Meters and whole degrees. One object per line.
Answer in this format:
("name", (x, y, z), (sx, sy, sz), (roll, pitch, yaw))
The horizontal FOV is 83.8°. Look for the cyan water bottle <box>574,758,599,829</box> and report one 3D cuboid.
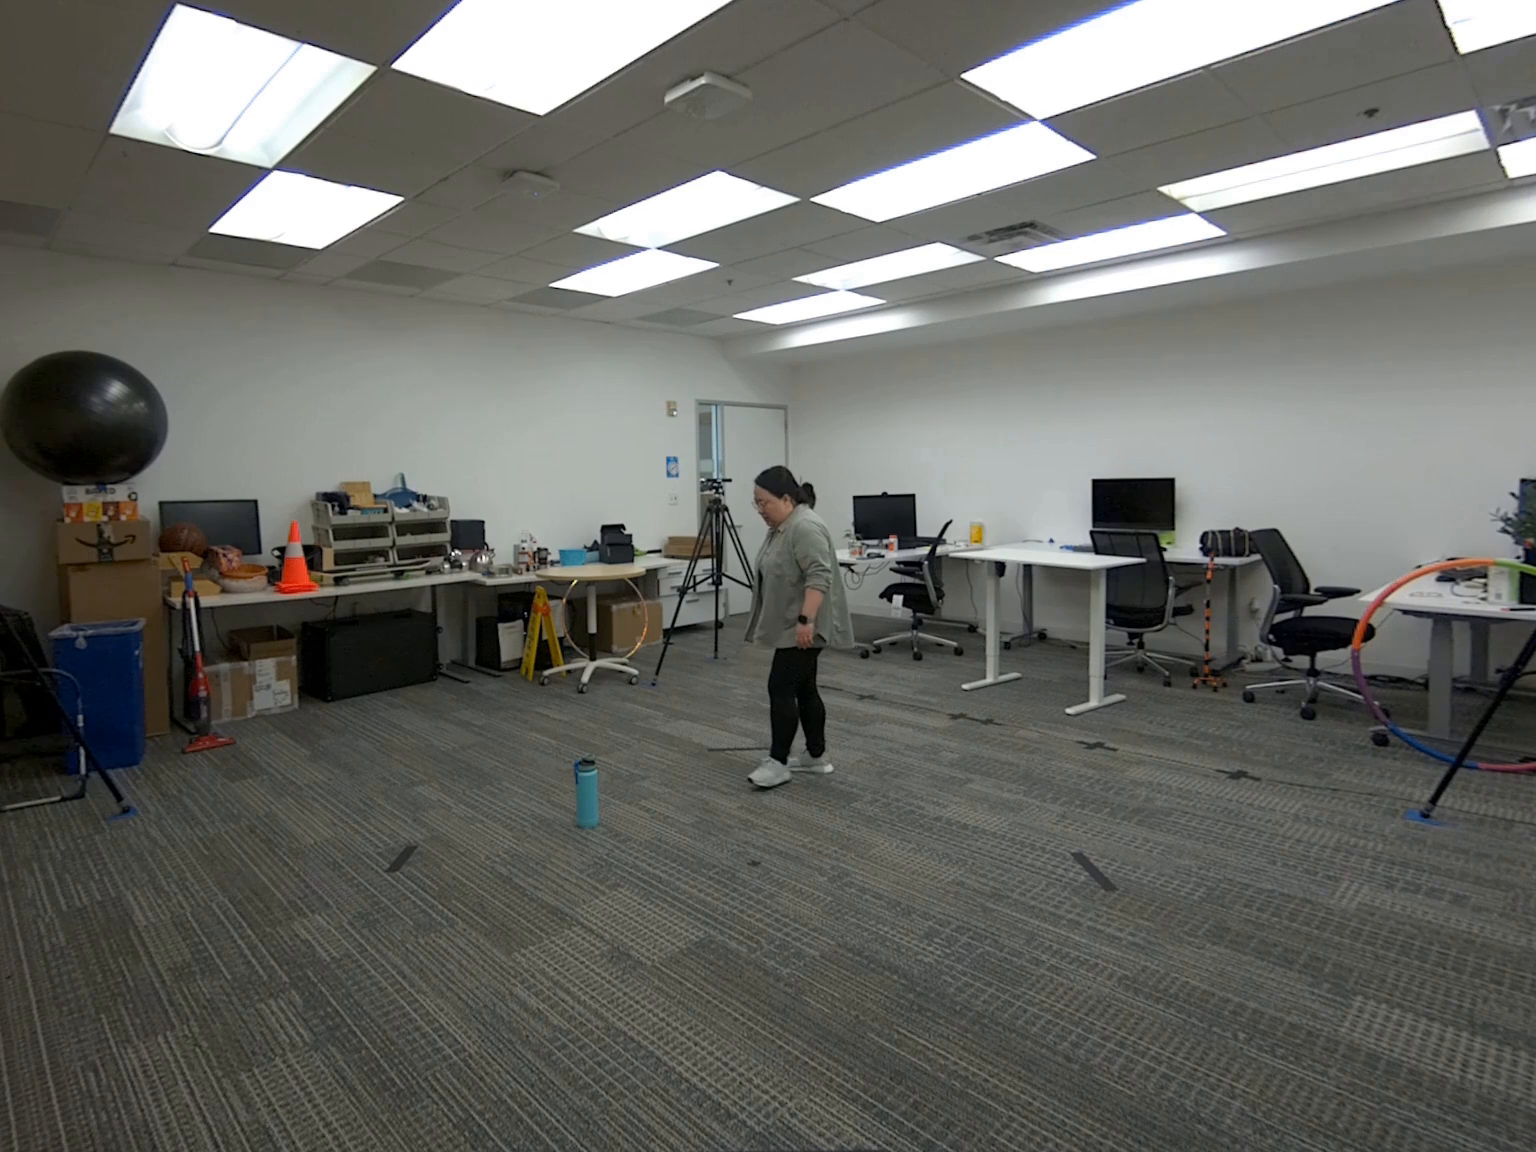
("cyan water bottle", (-0.742, 0.878, 3.492), (0.092, 0.283, 0.092), (-2, 1, -2))
